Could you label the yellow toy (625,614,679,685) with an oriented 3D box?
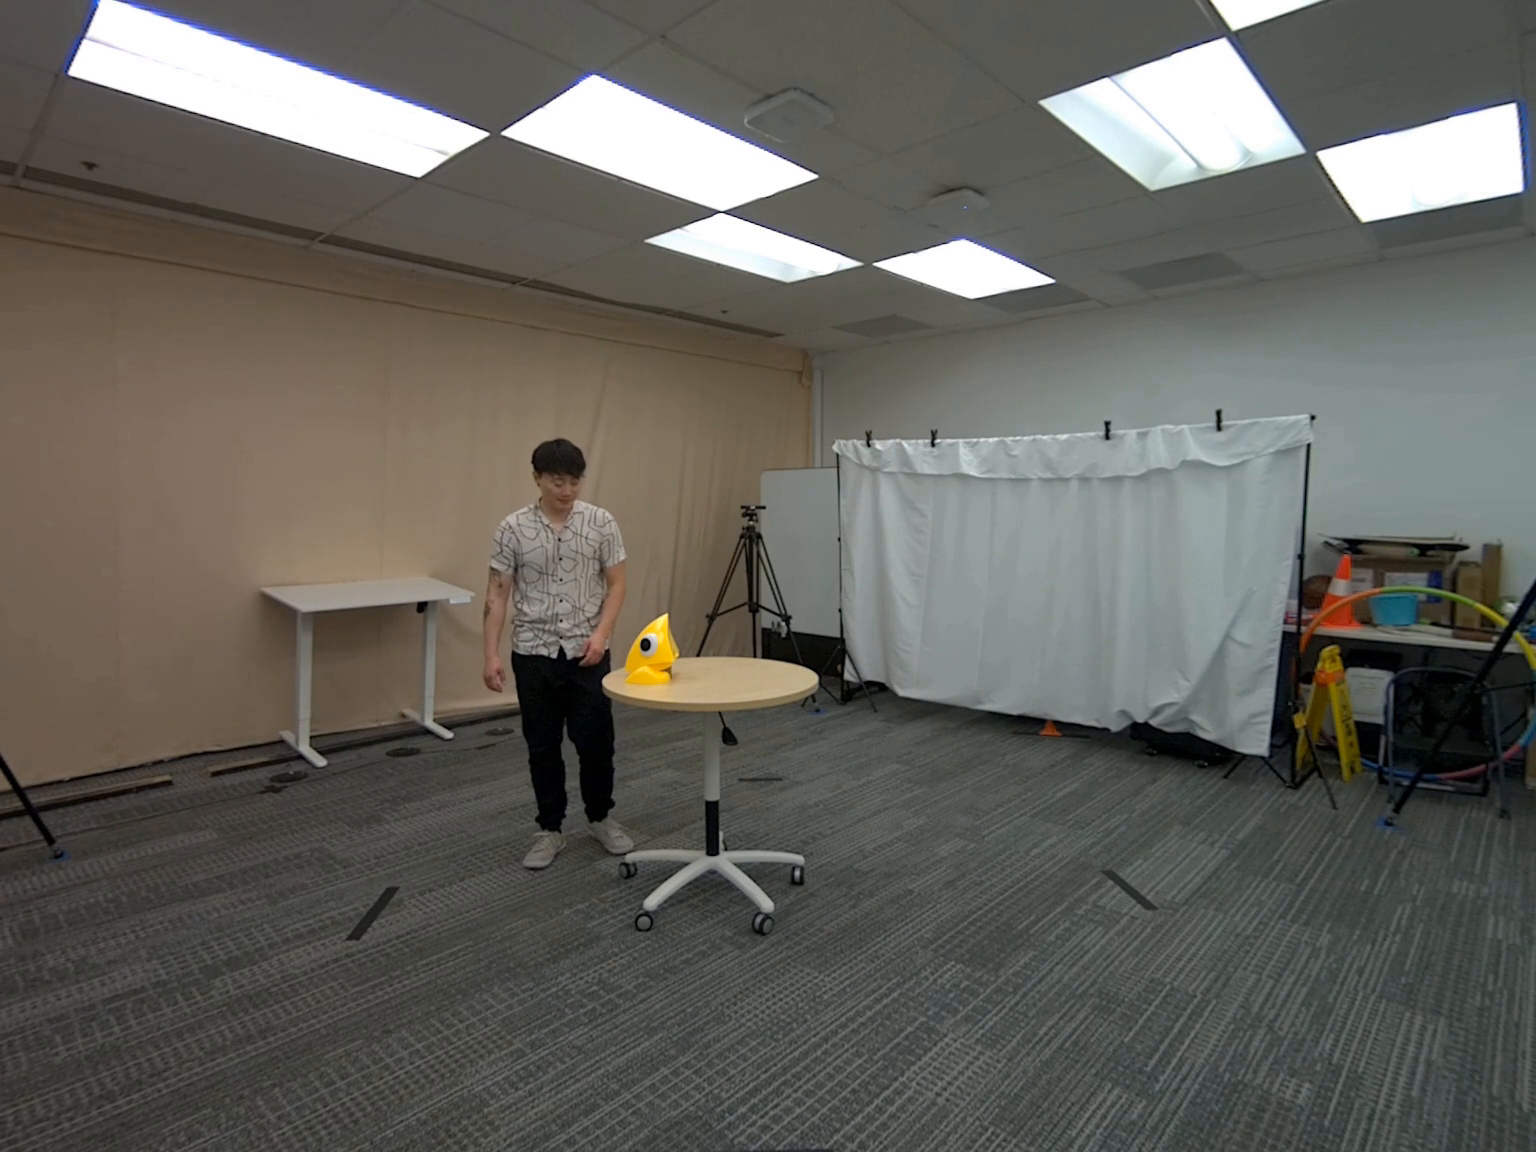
[{"bbox_3d":[-0.412,0.248,2.988,0.193,0.230,0.205,2,4,-1],"label":"yellow toy"}]
